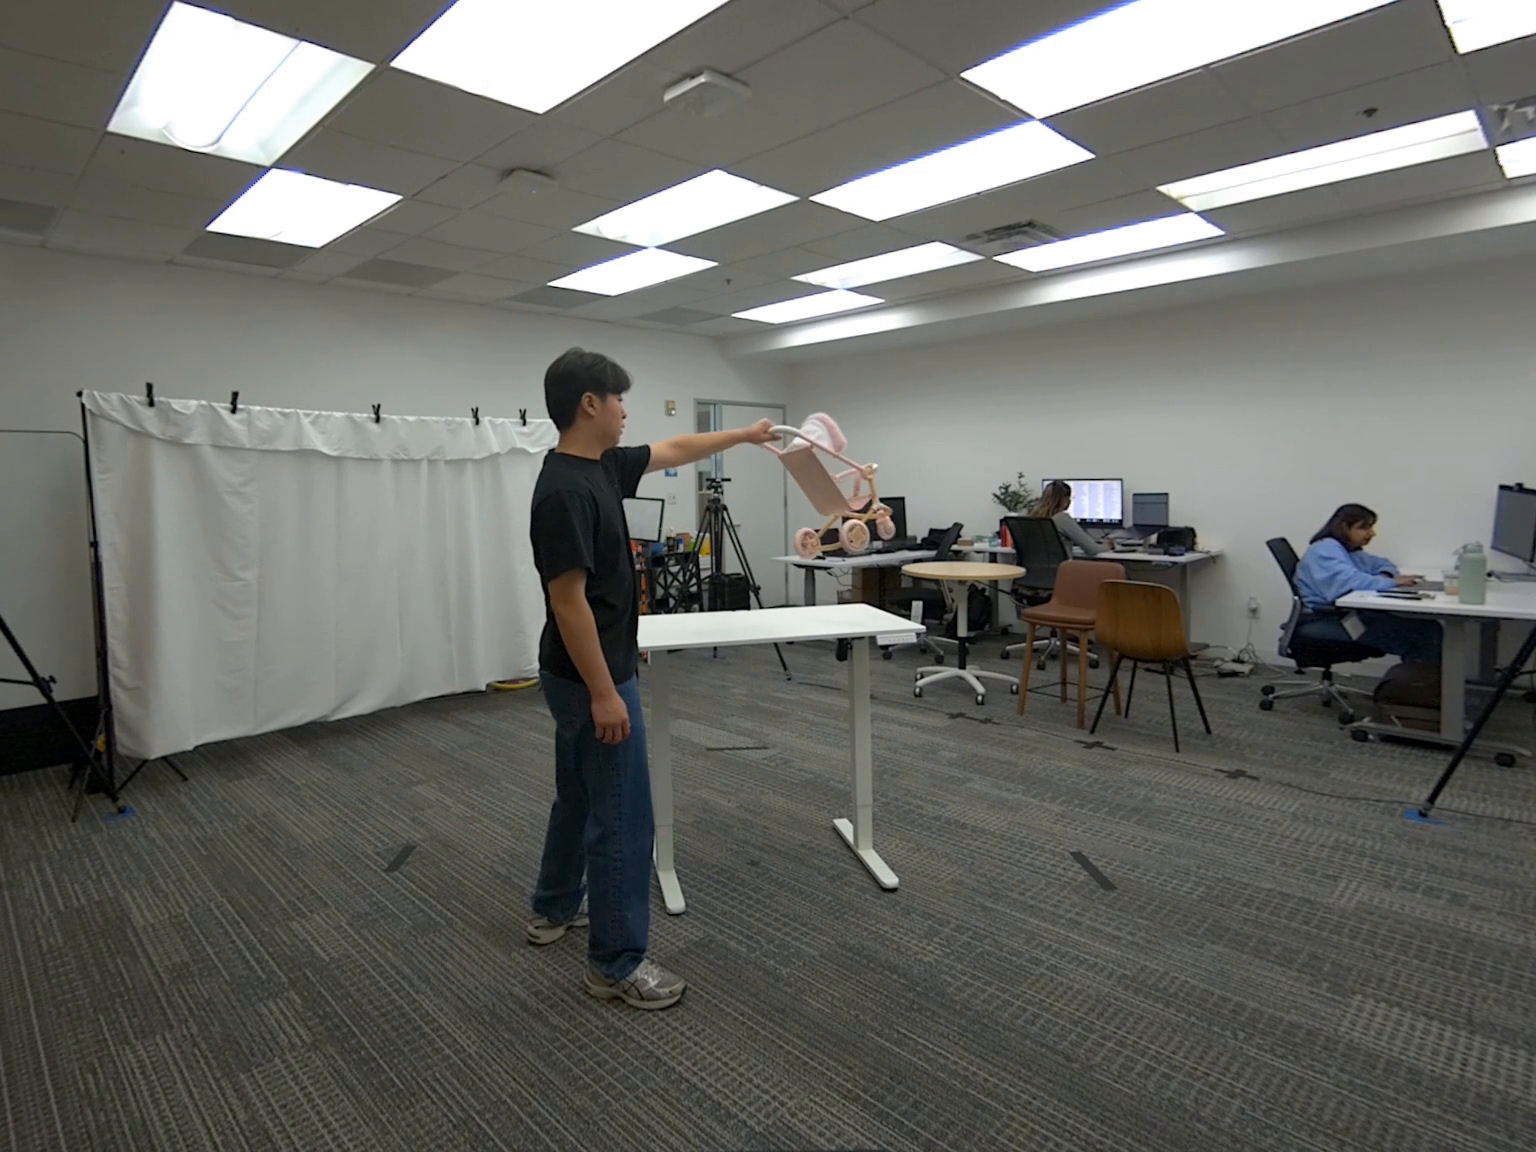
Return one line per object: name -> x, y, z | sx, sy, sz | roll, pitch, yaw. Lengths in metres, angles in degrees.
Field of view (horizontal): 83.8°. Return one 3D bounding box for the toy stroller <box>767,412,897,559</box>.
toy stroller -> 0.214, -0.299, 2.850 | 0.338, 0.529, 0.287 | -30, 10, -27
